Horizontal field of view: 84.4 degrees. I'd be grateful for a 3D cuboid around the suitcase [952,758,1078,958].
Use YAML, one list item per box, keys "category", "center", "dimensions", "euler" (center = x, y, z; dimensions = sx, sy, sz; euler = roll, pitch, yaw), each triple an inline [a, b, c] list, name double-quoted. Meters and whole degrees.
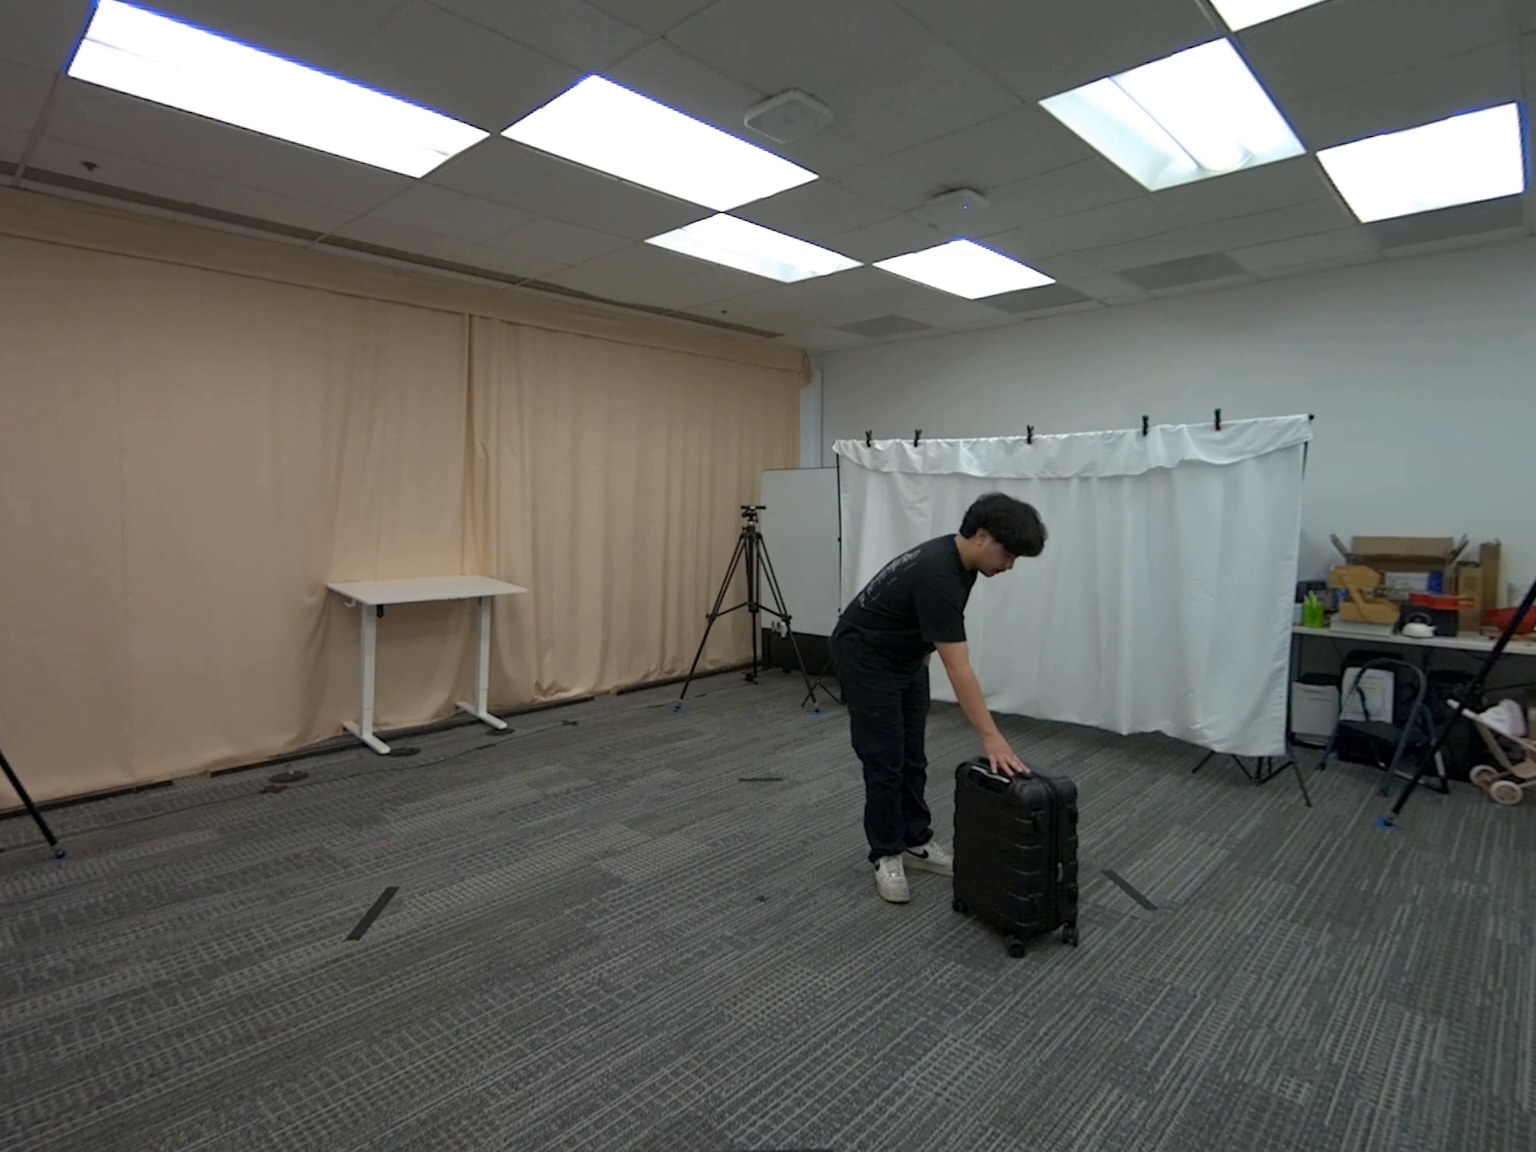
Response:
- category: "suitcase"
  center: [0.816, 0.884, 2.766]
  dimensions: [0.242, 0.548, 0.385]
  euler: [-2, 3, -26]
